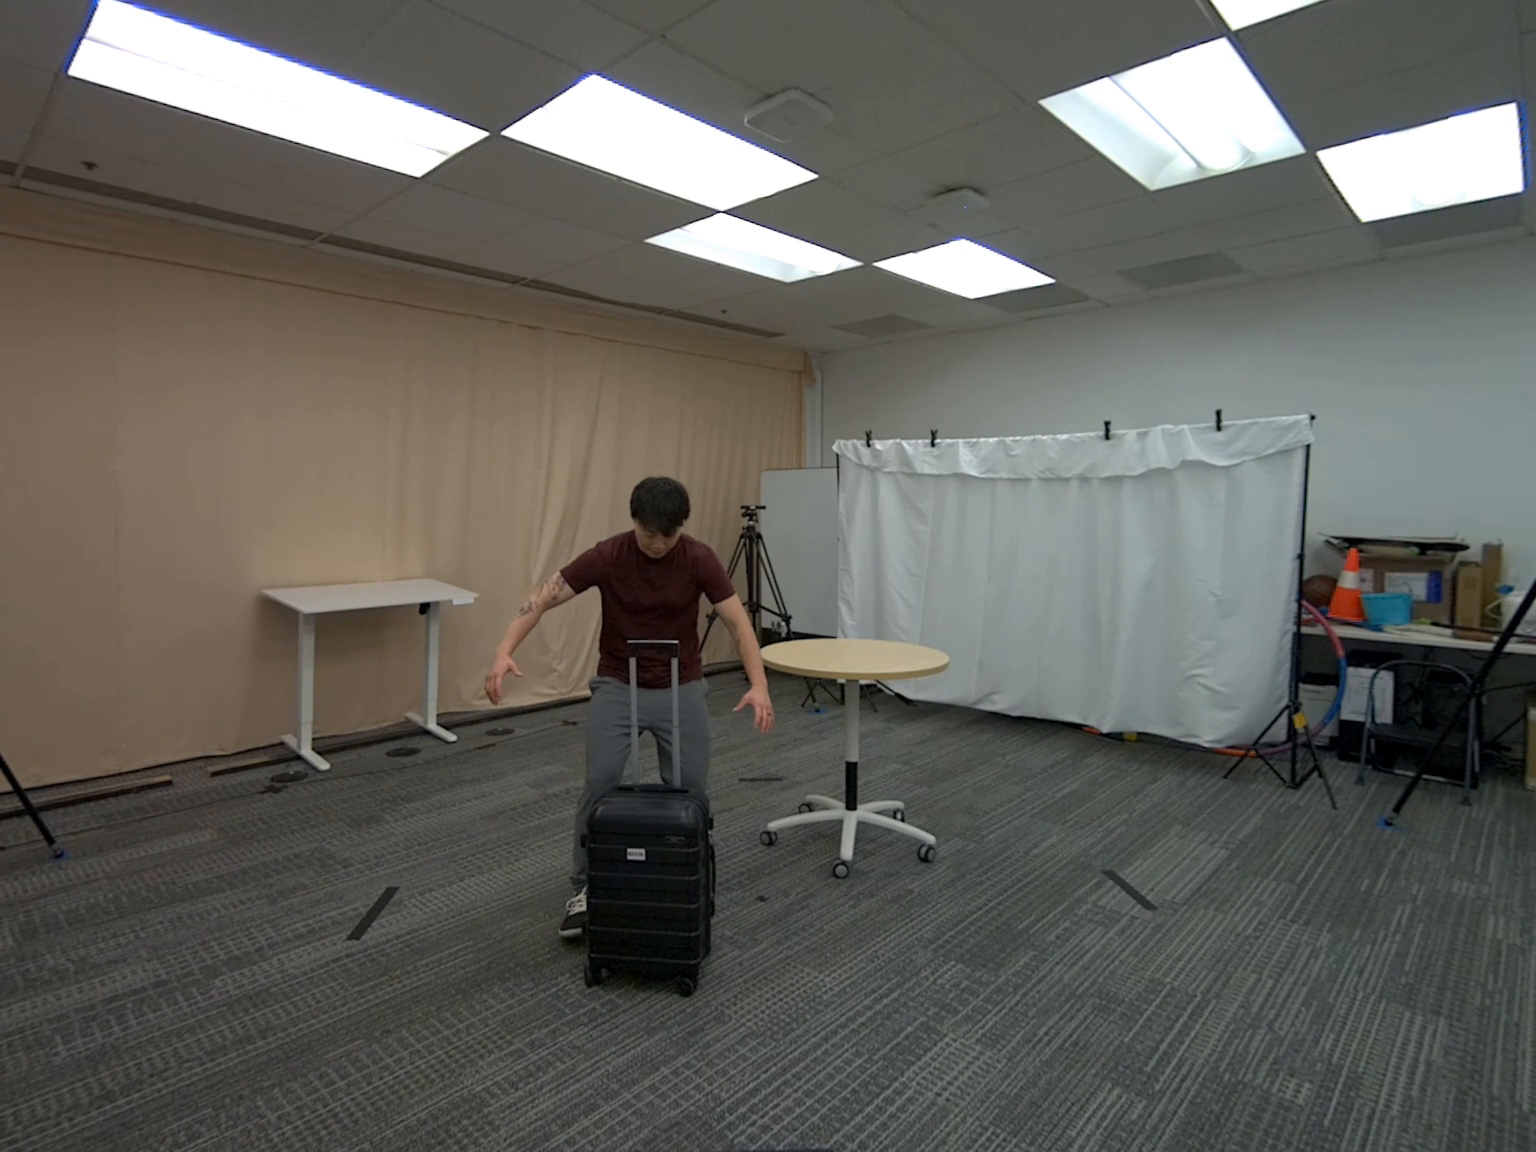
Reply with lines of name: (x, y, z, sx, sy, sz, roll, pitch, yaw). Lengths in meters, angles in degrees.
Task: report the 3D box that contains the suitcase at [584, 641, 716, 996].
suitcase: (-0.348, 0.714, 2.493, 0.387, 0.975, 0.256, 0, 5, 6)
